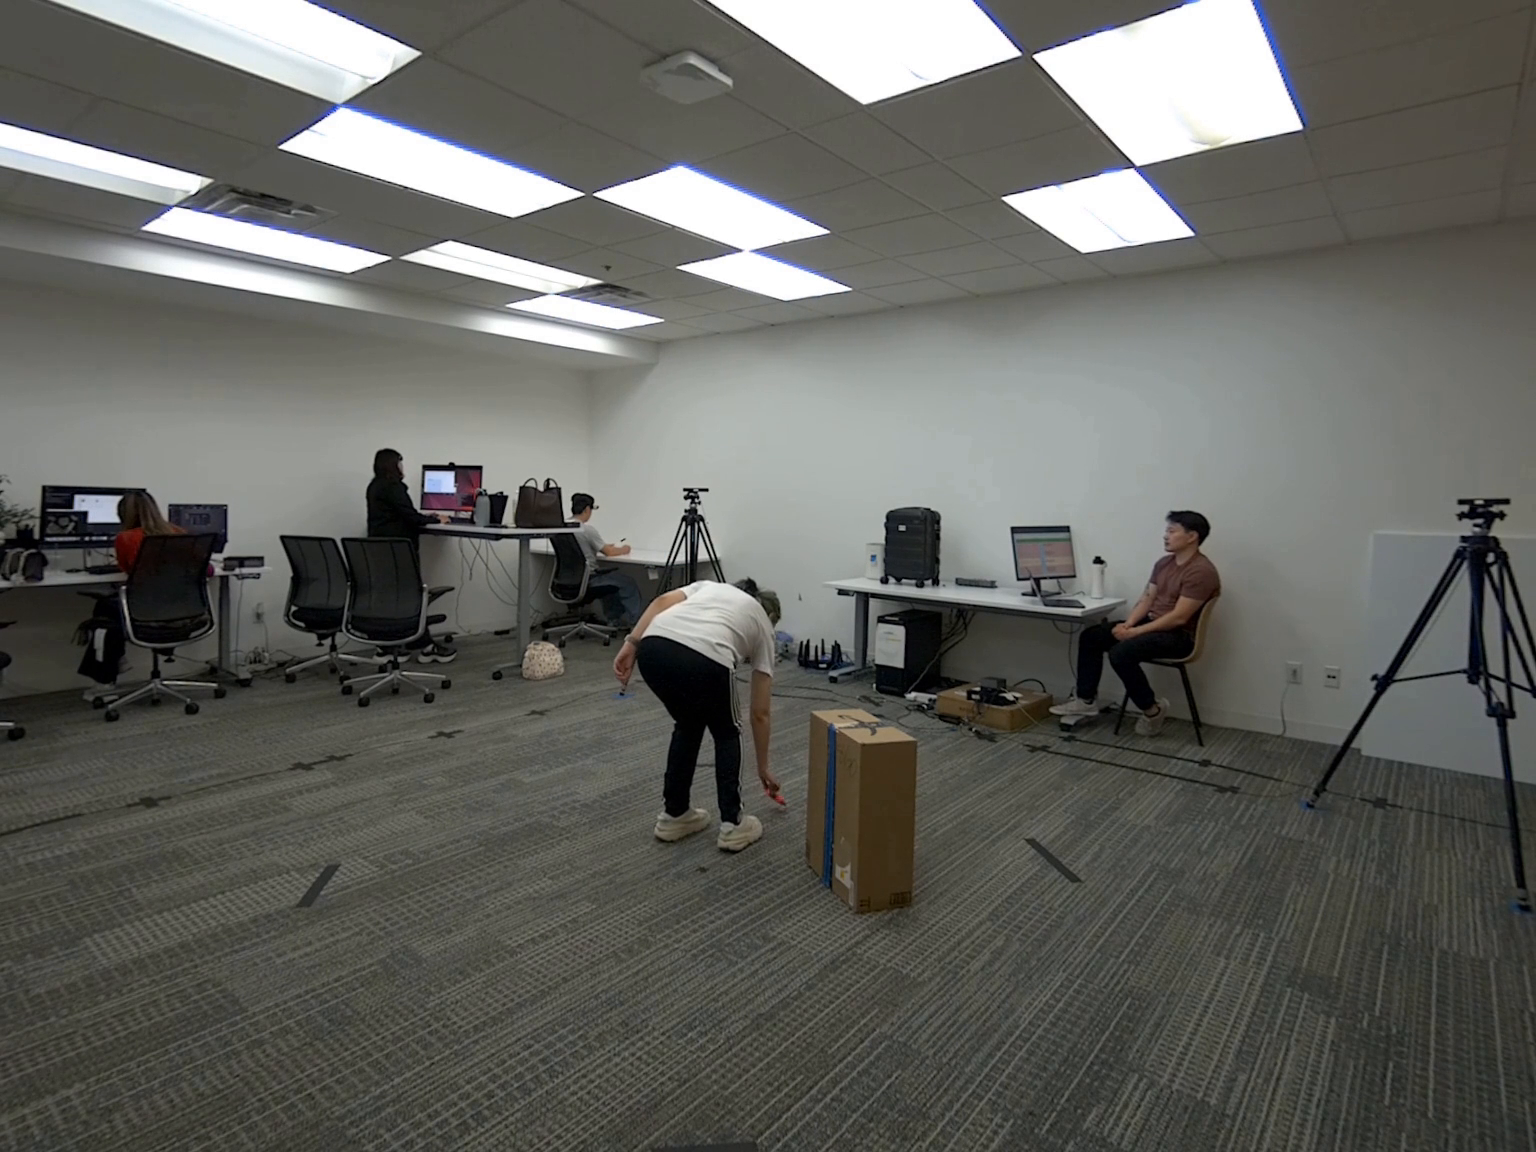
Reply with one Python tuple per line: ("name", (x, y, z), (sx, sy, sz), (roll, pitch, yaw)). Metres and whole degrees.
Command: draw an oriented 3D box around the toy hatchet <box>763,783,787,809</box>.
("toy hatchet", (0.033, 0.926, 3.620), (0.131, 0.029, 0.269), (39, -12, 0))
